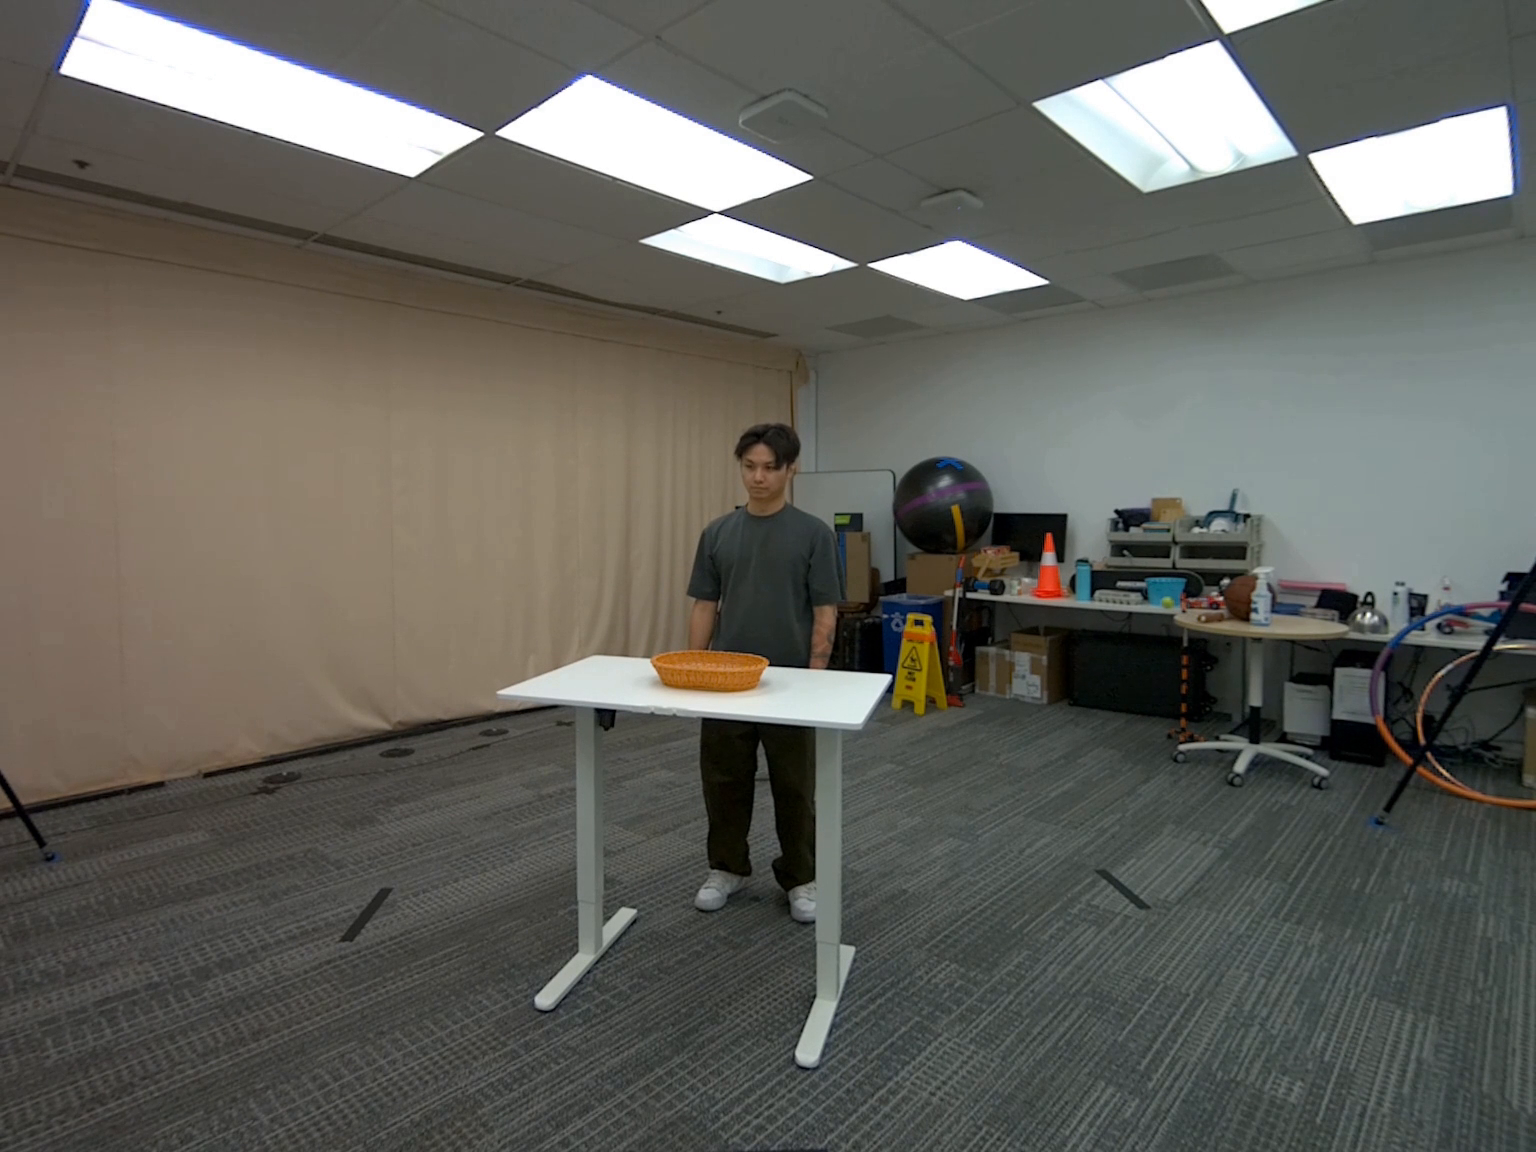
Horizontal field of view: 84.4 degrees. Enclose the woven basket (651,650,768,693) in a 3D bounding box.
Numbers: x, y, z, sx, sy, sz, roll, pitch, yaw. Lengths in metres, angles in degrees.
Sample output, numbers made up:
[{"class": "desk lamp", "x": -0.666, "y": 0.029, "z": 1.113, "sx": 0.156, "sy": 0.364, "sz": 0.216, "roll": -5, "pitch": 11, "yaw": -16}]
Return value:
[{"class": "woven basket", "x": -0.169, "y": 0.282, "z": 2.414, "sx": 0.358, "sy": 0.073, "sz": 0.247, "roll": 2, "pitch": 5, "yaw": 21}]
